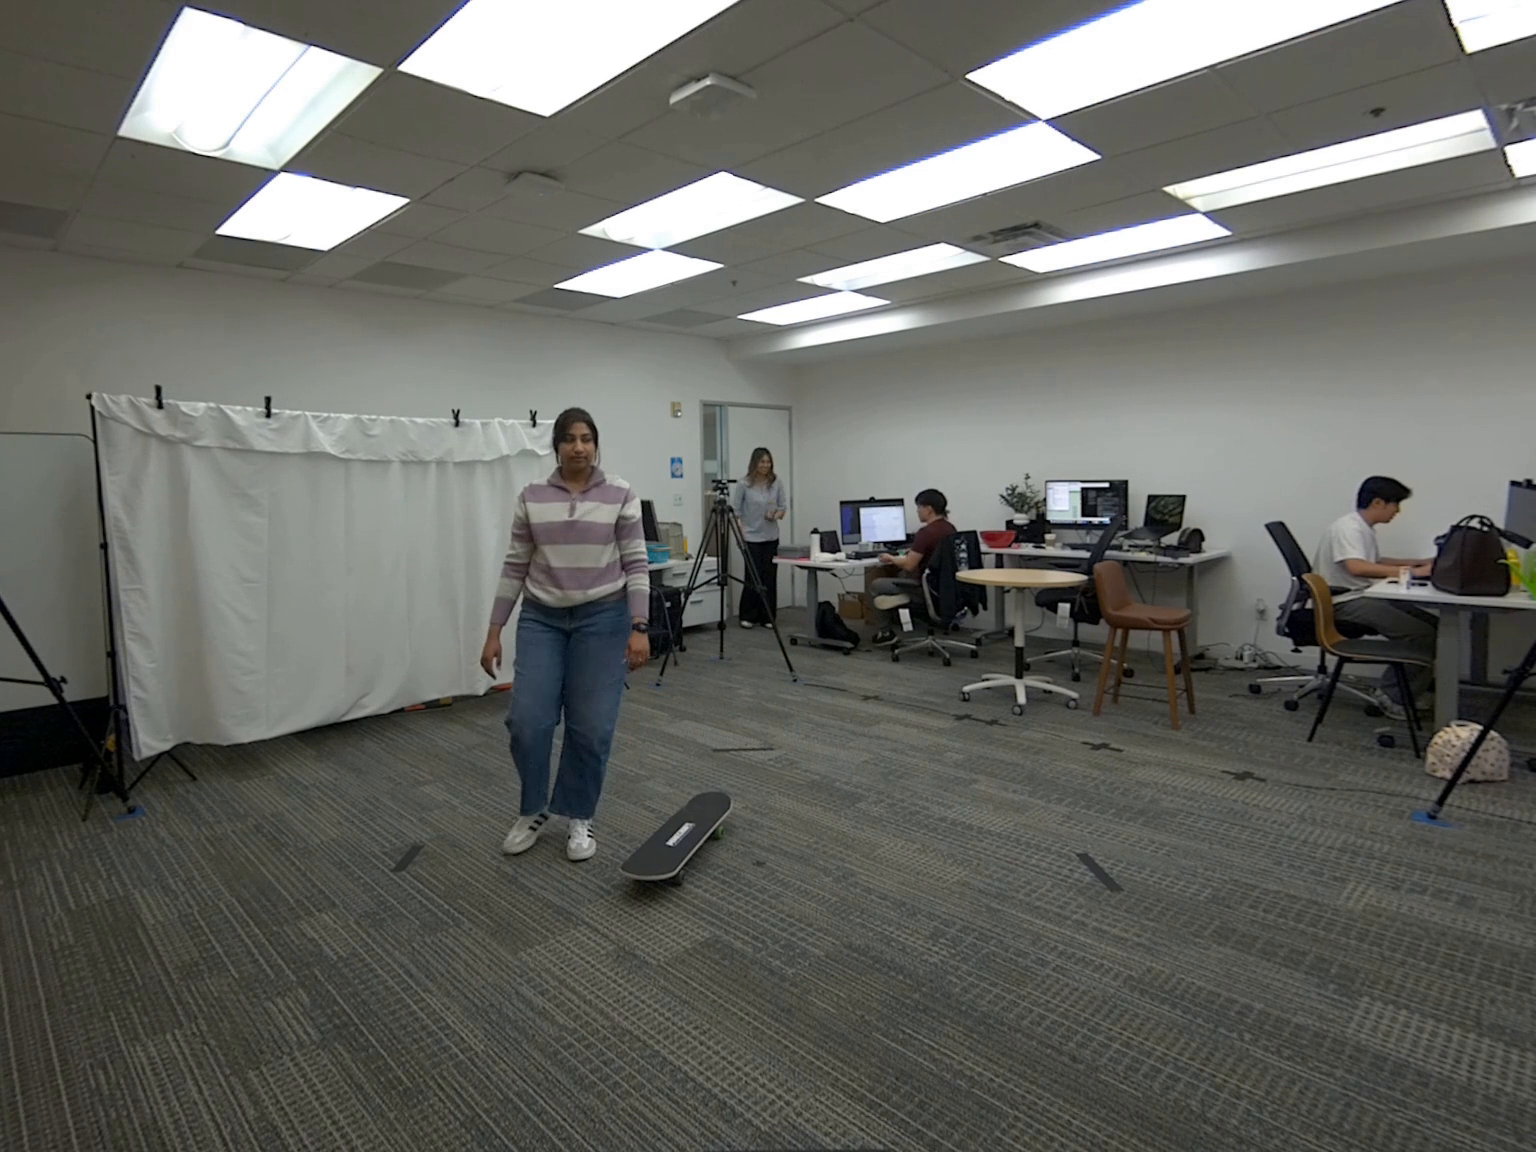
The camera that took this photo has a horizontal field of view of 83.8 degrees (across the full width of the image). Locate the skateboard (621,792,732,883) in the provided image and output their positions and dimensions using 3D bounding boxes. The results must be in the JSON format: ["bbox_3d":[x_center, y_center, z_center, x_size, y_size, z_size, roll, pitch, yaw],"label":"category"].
[{"bbox_3d":[-0.322,0.981,3.170,0.197,0.110,0.776,2,7,16],"label":"skateboard"}]
